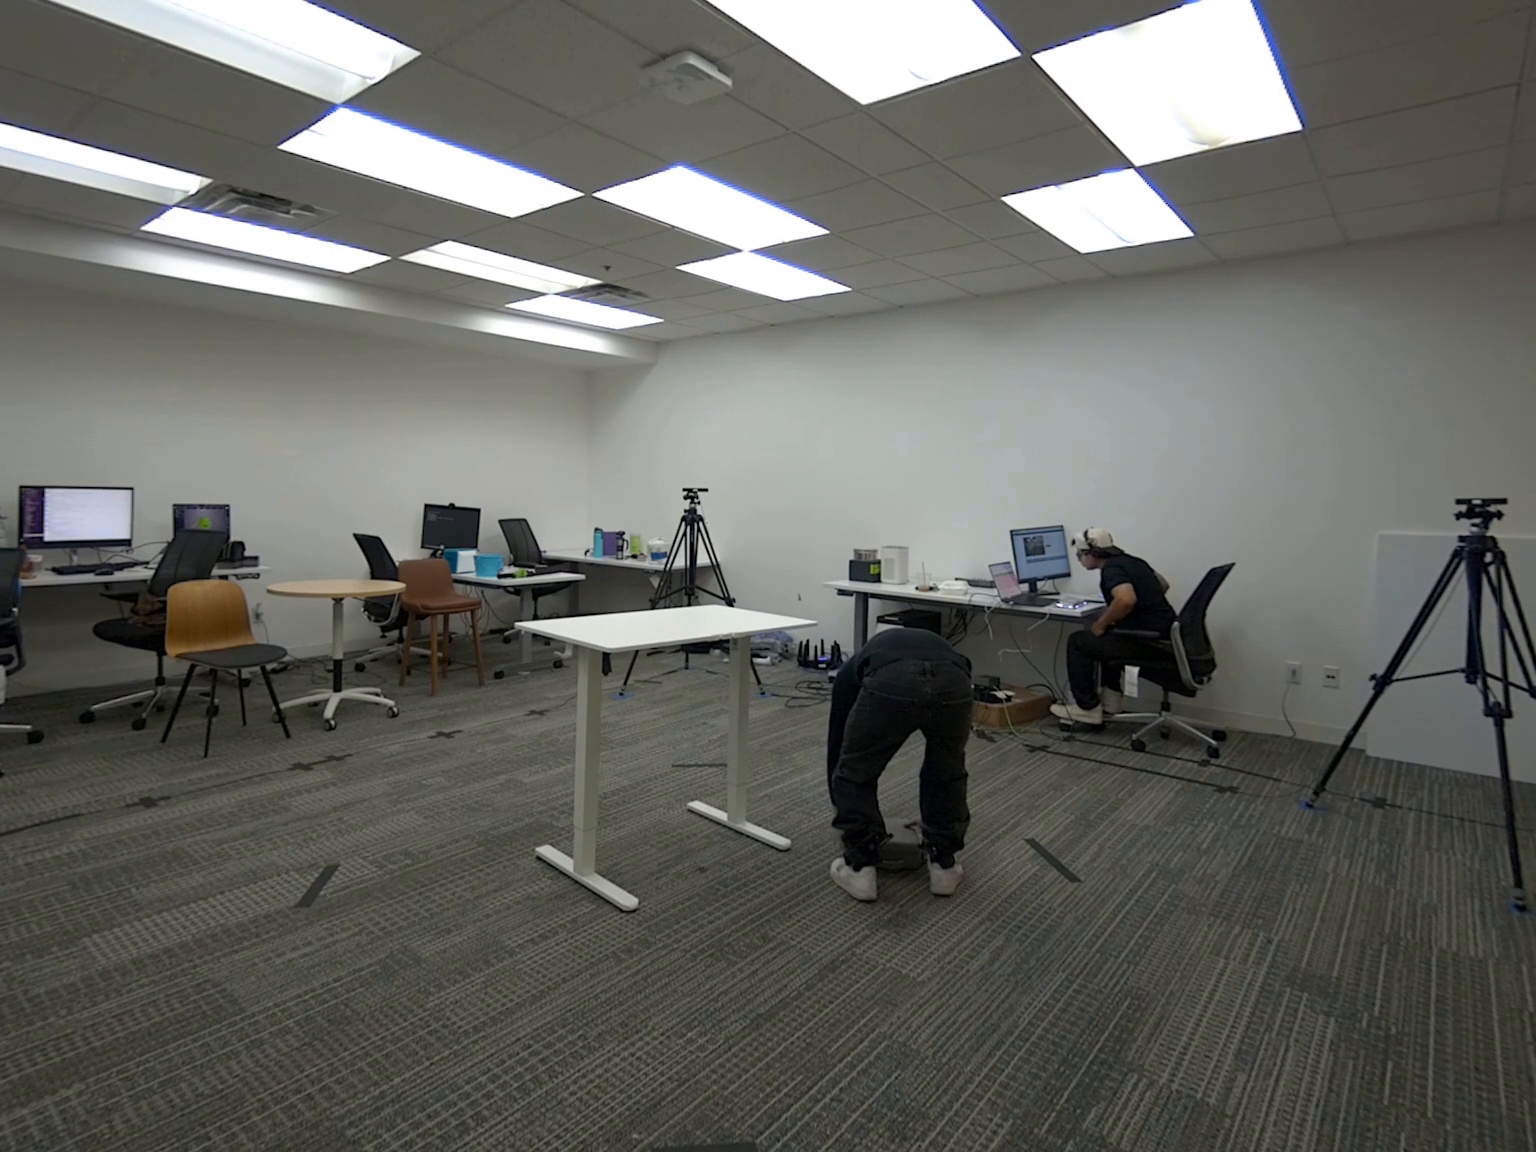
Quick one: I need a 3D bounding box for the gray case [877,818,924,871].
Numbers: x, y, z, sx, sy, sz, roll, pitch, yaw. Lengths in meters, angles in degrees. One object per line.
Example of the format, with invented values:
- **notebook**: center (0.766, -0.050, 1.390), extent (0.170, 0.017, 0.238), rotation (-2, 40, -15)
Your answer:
- **gray case**: center (0.437, 1.014, 3.258), extent (0.257, 0.104, 0.261), rotation (2, 5, -1)
